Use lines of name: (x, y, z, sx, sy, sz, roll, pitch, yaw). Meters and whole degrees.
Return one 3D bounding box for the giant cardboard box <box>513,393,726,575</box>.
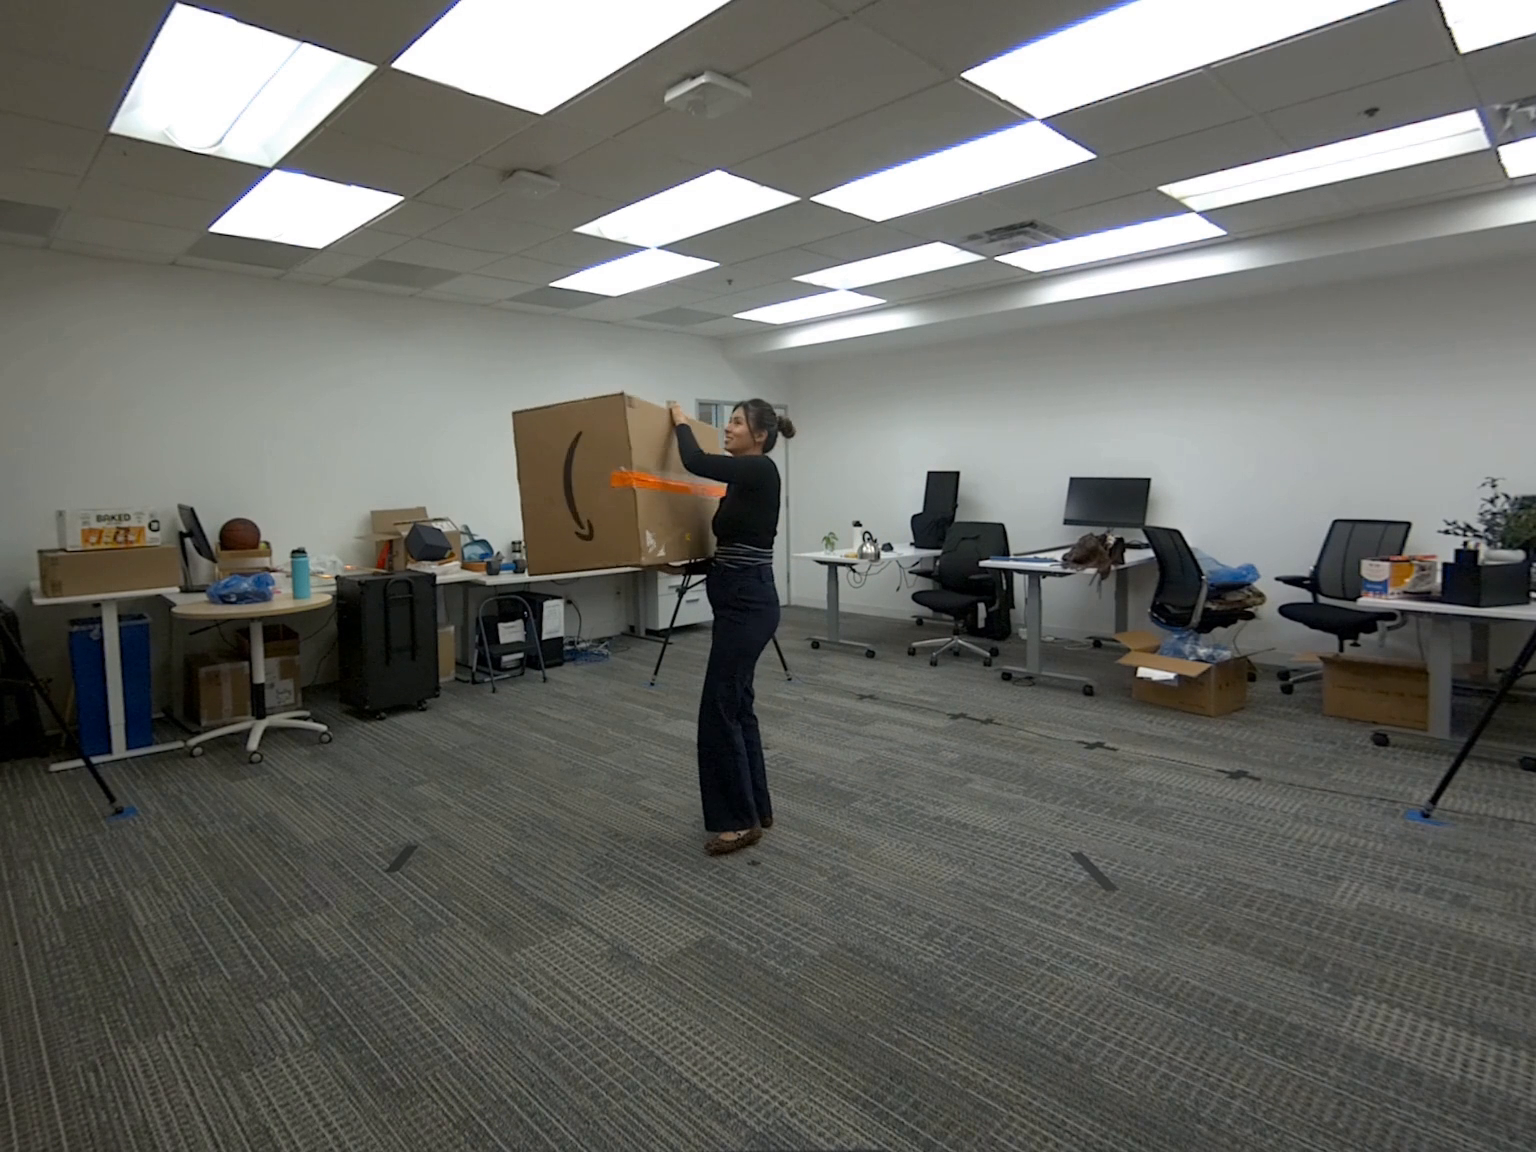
giant cardboard box: (-0.516, -0.332, 3.338, 0.432, 0.577, 1.012, -5, 1, 15)
